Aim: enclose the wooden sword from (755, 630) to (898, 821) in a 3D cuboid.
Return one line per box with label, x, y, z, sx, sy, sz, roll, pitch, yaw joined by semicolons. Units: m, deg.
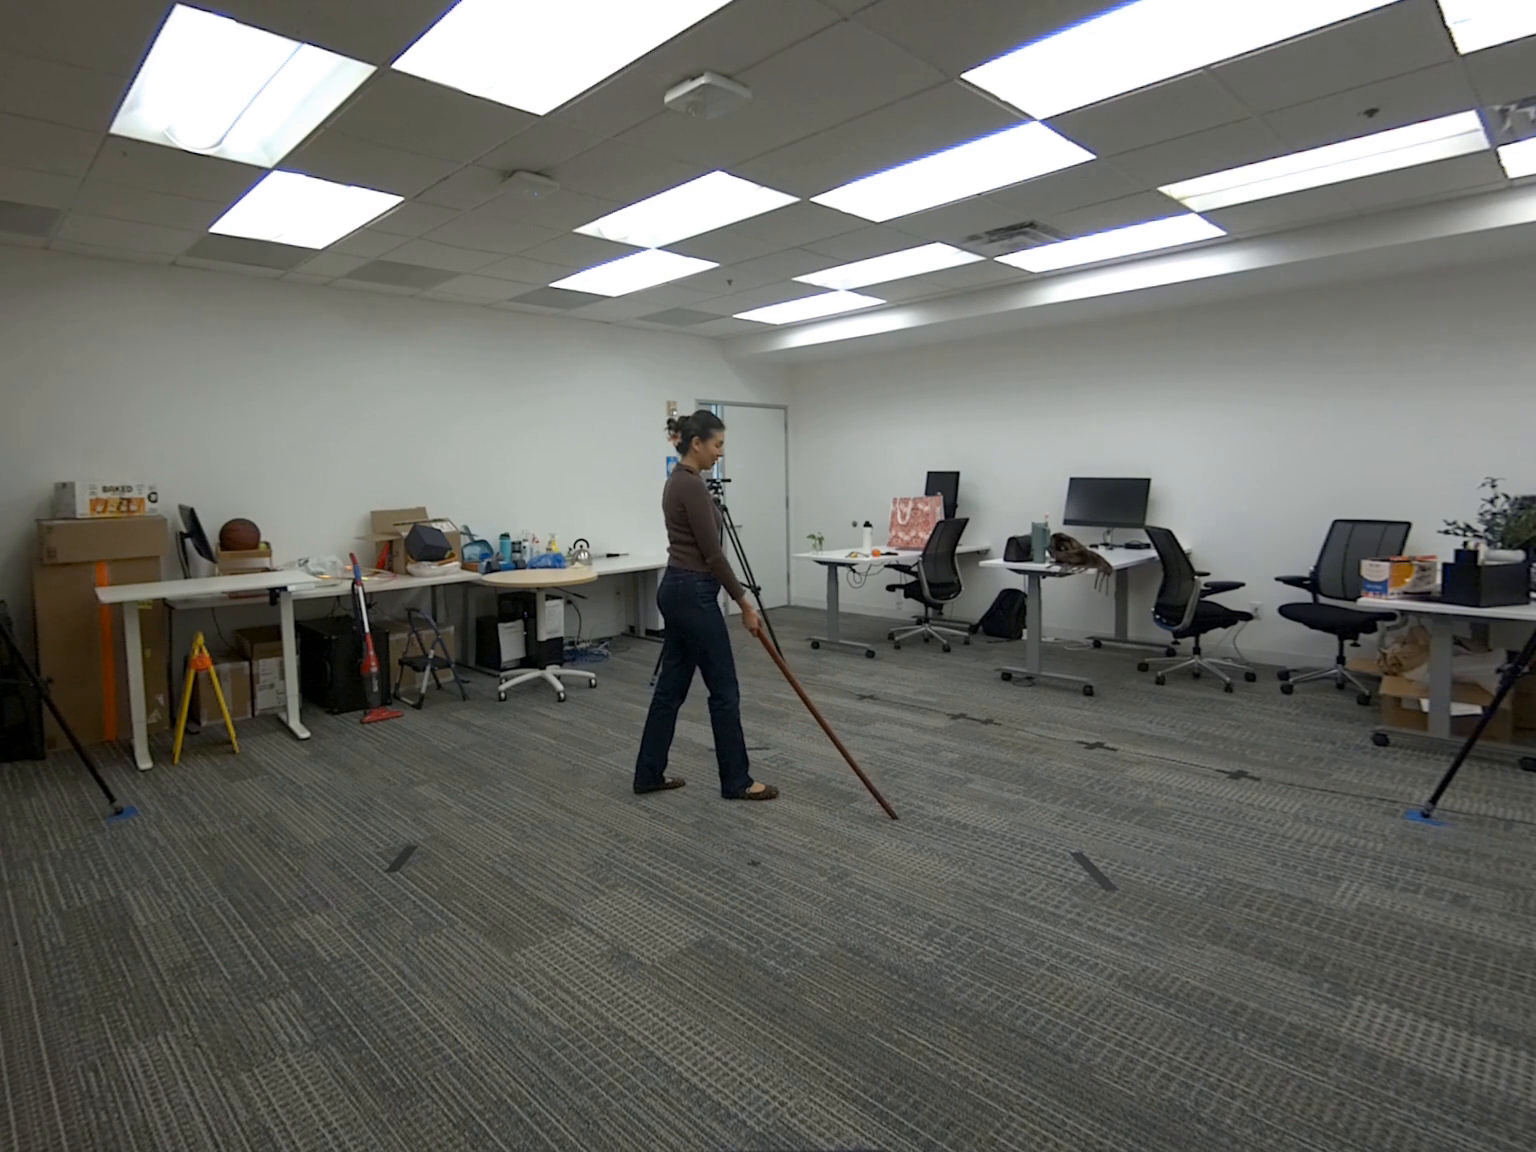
wooden sword;0.222;0.594;3.598;0.024;1.040;0.050;-39;-11;9
